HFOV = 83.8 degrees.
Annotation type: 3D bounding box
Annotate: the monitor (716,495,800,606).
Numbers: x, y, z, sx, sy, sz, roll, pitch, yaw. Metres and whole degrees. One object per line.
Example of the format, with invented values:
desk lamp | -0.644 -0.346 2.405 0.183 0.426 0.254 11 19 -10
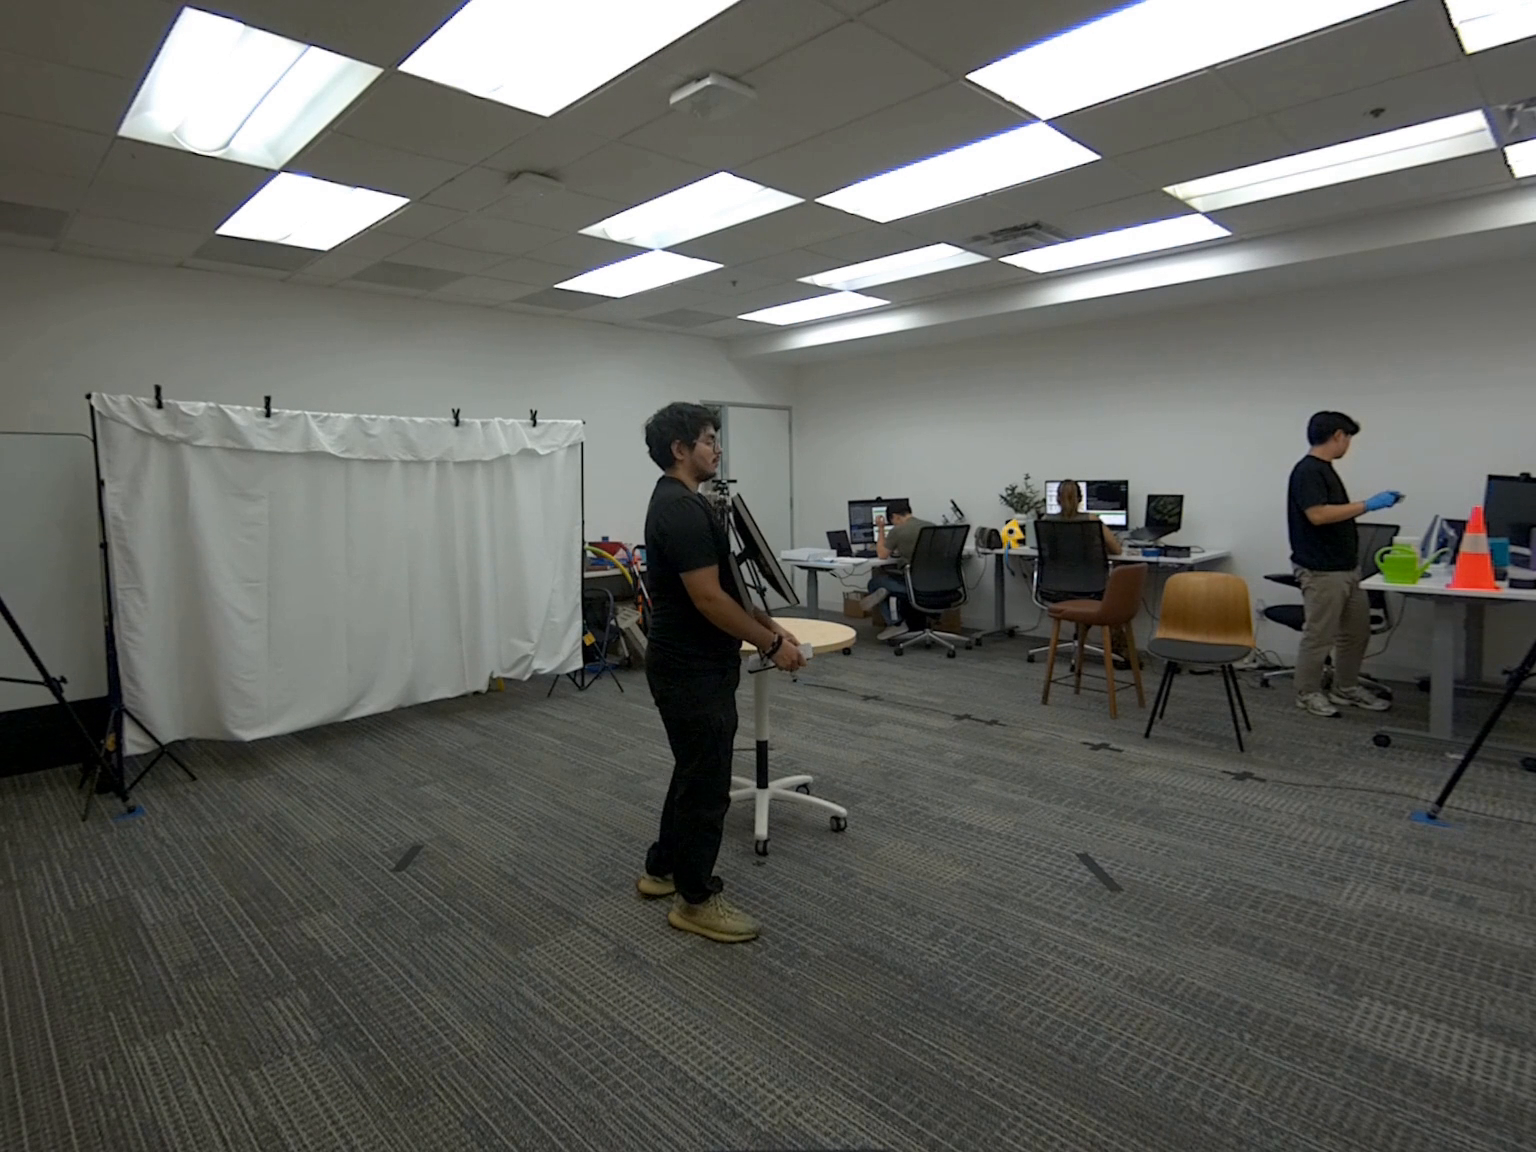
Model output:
monitor | -0.054 0.017 2.719 0.210 0.552 0.567 -22 4 0
